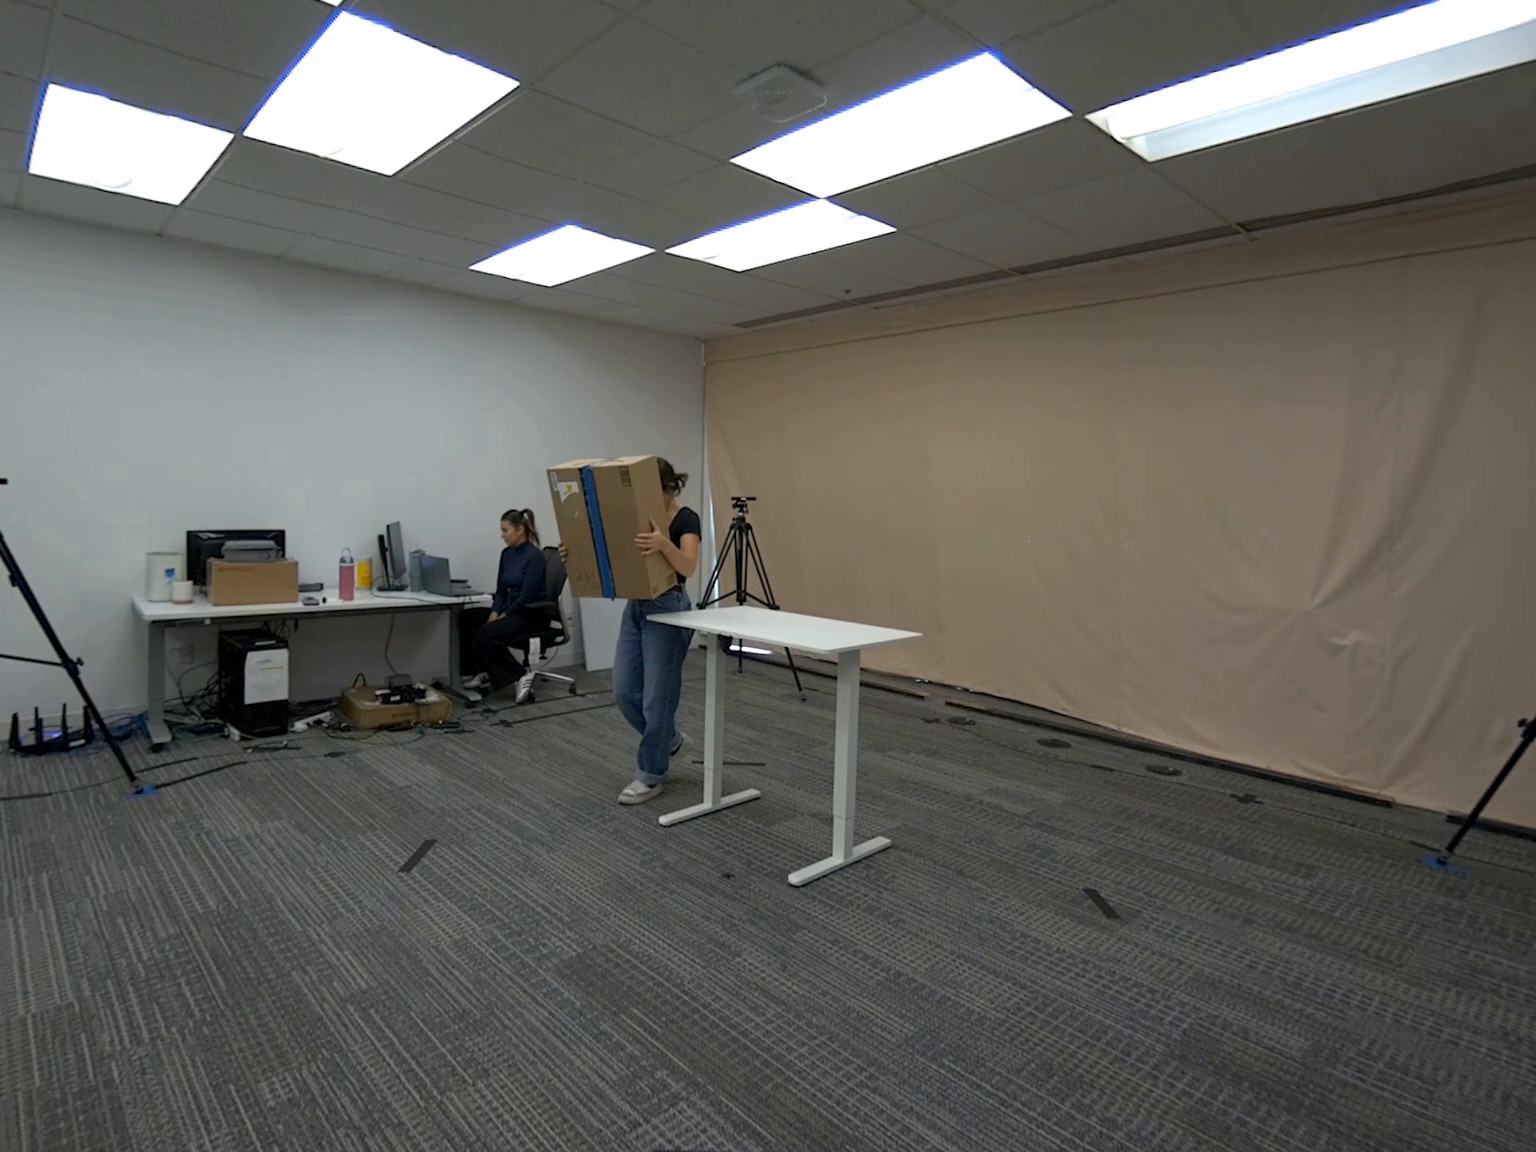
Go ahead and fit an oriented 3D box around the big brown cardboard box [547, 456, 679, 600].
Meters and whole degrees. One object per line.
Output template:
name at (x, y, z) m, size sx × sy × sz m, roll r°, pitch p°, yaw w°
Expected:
big brown cardboard box at (-0.667, -0.212, 3.566) m, size 0.425 × 0.582 × 0.232 m, roll -1°, pitch 16°, yaw 26°
